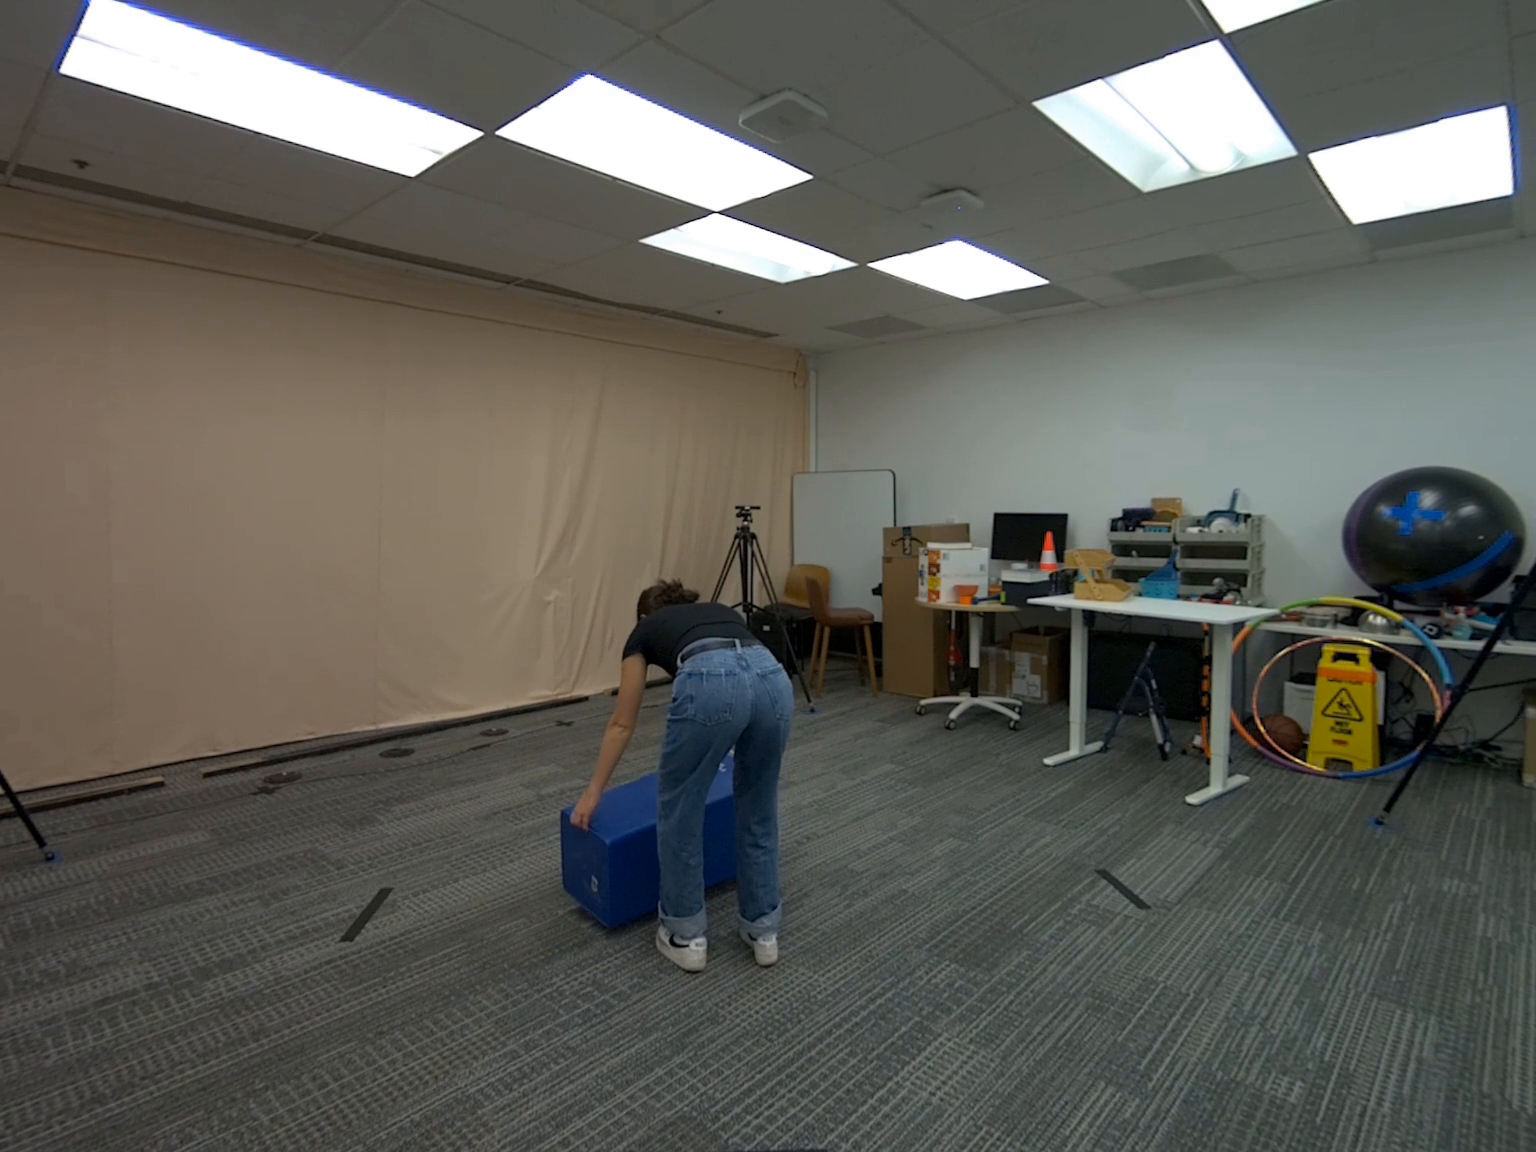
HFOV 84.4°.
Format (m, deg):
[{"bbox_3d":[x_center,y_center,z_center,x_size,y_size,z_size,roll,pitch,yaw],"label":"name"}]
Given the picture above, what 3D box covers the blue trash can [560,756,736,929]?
[{"bbox_3d":[-0.348,0.920,2.992,0.694,0.371,0.391,-10,15,-39],"label":"blue trash can"}]
